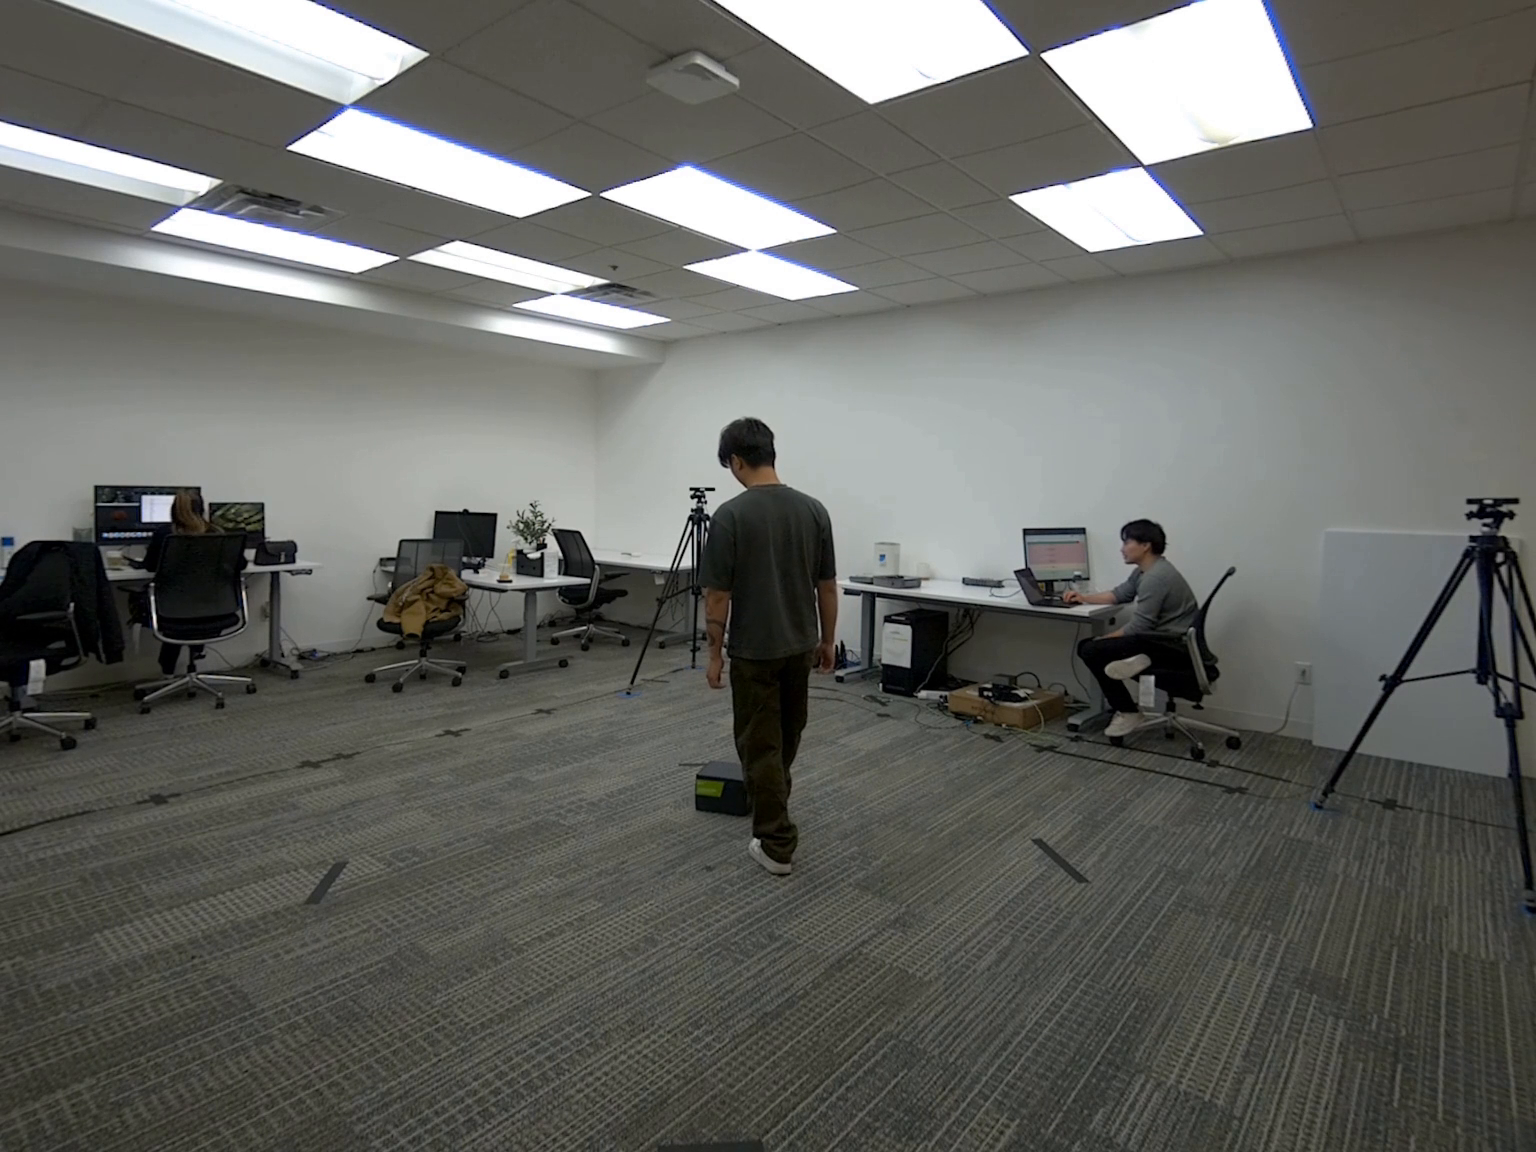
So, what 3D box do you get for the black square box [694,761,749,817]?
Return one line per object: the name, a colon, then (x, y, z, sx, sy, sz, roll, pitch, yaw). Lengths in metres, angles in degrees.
black square box: (-0.191, 0.919, 3.738, 0.232, 0.155, 0.214, 3, 5, 15)
